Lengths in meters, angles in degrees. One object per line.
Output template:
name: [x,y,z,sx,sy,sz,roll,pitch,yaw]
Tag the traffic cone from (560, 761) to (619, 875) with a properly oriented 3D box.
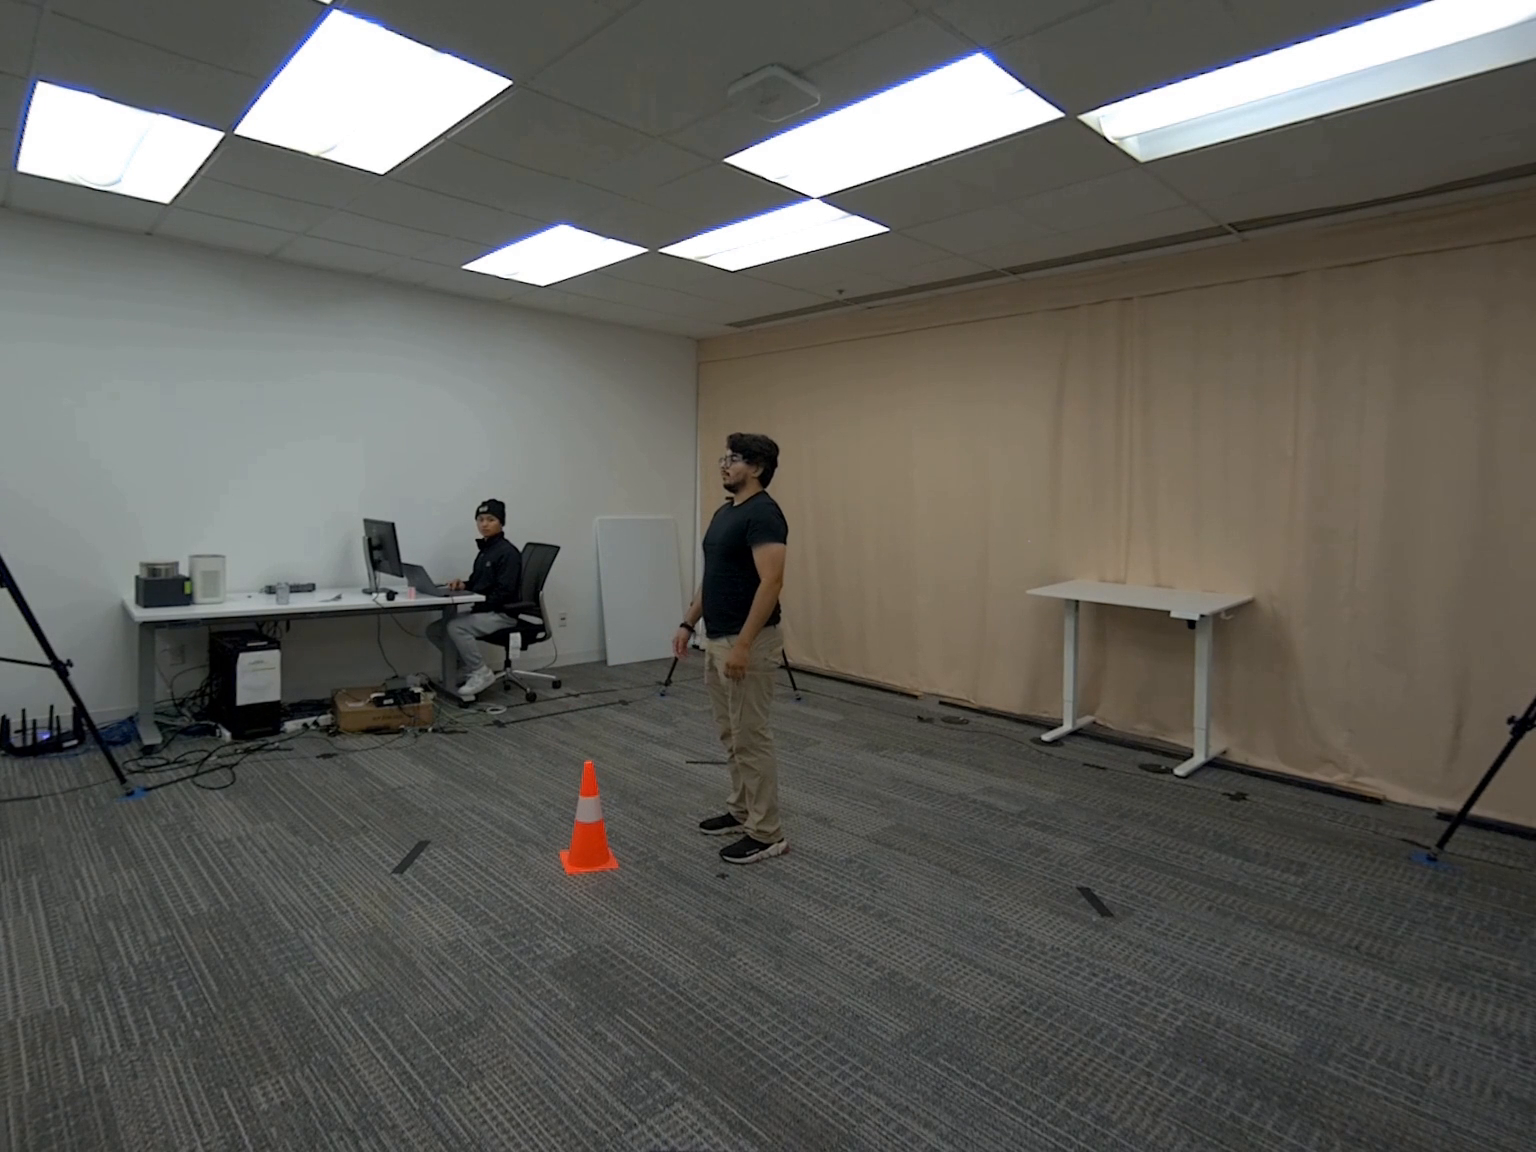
traffic cone: [-0.698,0.903,3.200,0.202,0.383,0.207,0,3,-19]
